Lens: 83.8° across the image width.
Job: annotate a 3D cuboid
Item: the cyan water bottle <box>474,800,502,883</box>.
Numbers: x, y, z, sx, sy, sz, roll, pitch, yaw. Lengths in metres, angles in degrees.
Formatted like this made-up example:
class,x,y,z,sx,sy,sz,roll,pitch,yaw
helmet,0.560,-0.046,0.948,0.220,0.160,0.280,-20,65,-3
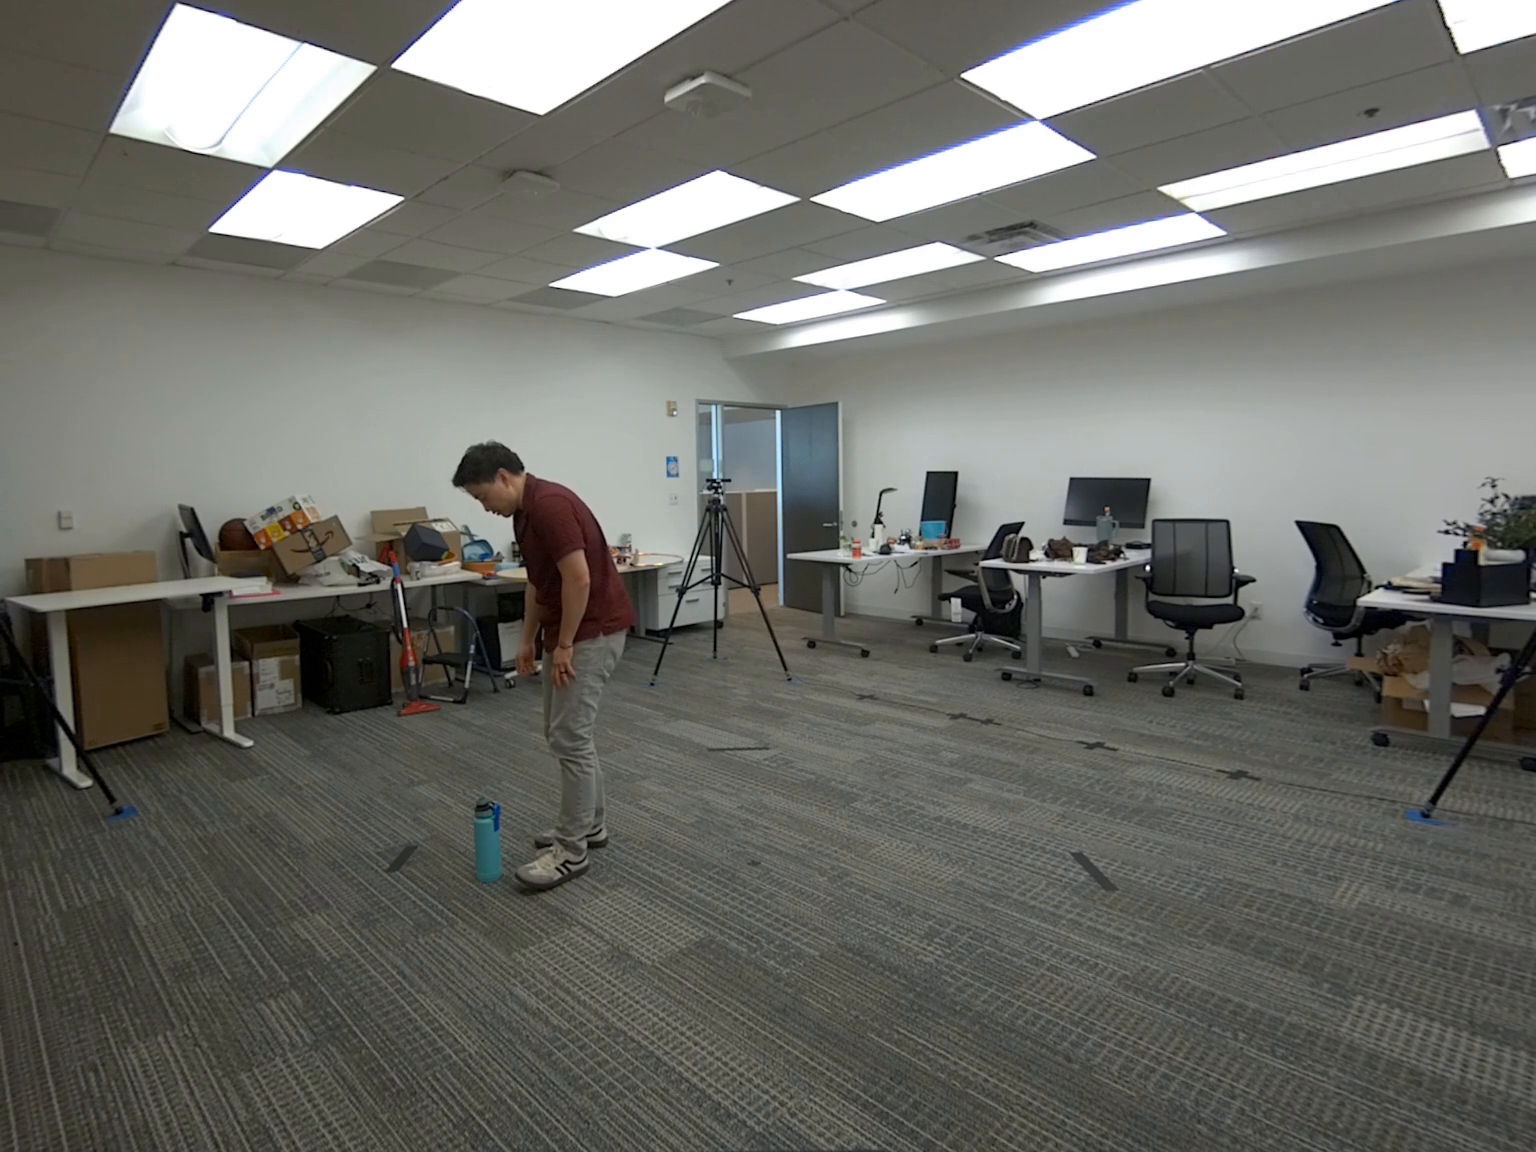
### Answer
class,x,y,z,sx,sy,sz,roll,pitch,yaw
cyan water bottle,-0.983,0.928,3.032,0.092,0.282,0.093,-1,4,-2
